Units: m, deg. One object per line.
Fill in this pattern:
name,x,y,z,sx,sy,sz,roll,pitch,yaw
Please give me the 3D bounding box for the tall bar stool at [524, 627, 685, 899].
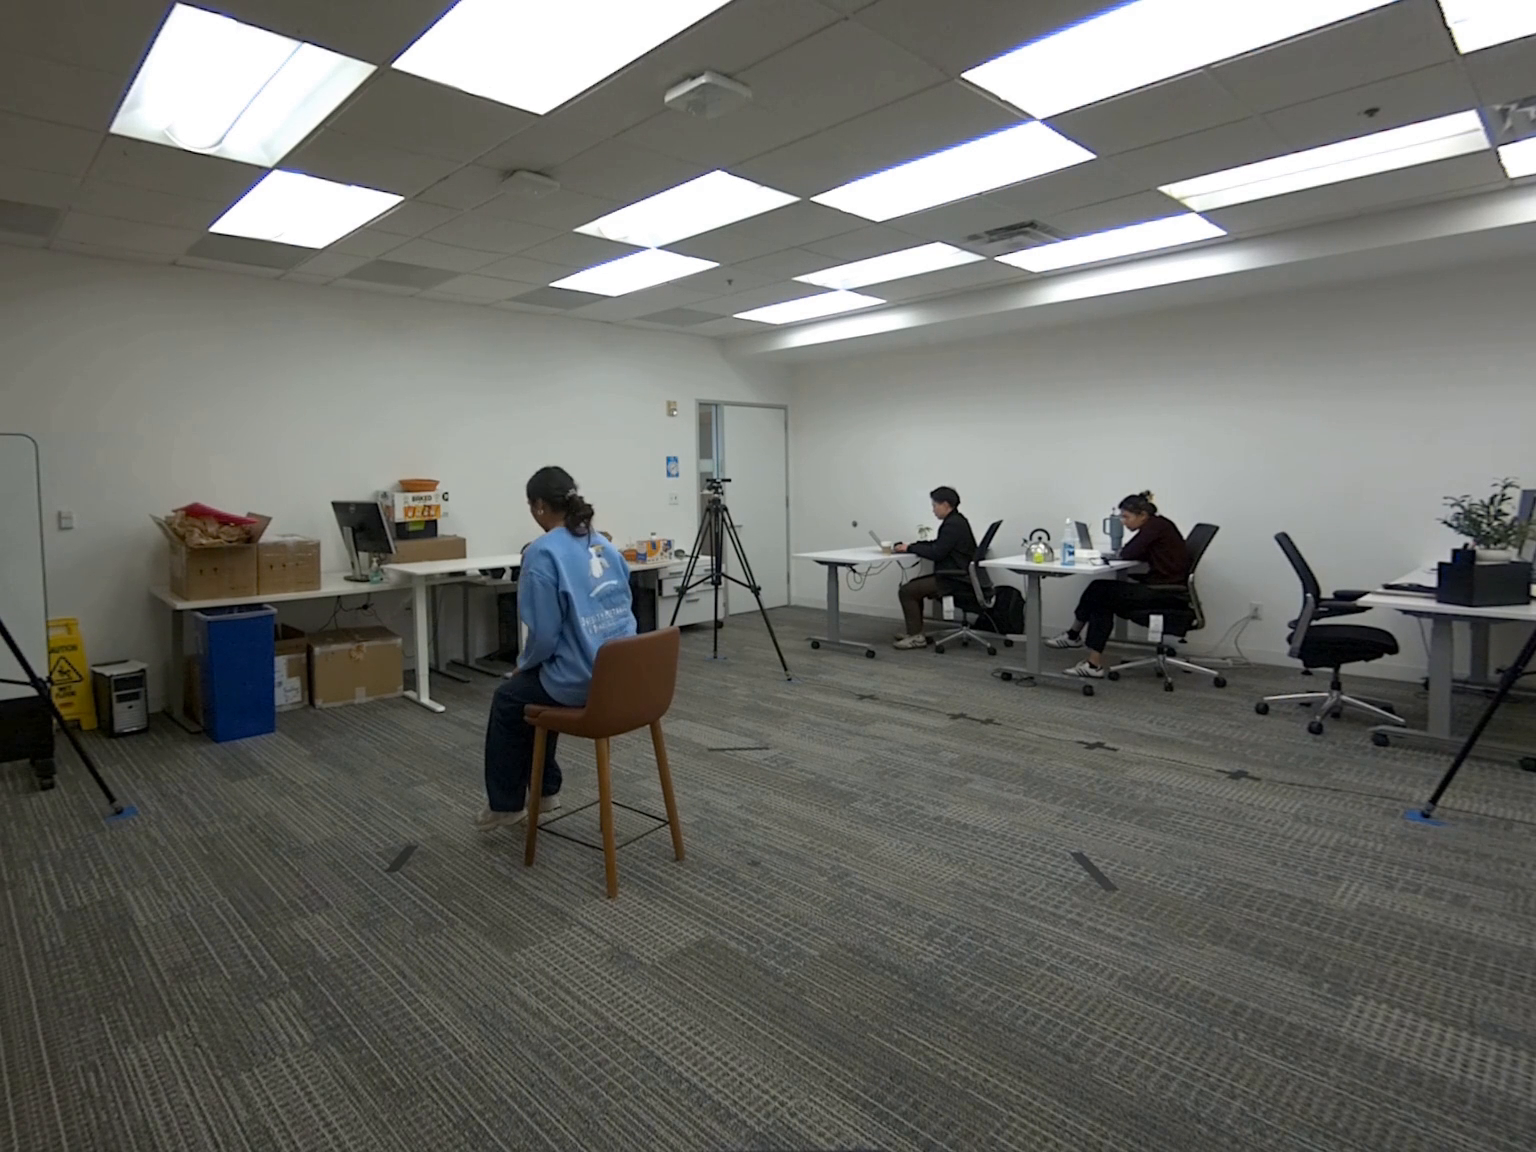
tall bar stool,-0.593,0.617,3.113,0.482,0.886,0.445,4,6,37
